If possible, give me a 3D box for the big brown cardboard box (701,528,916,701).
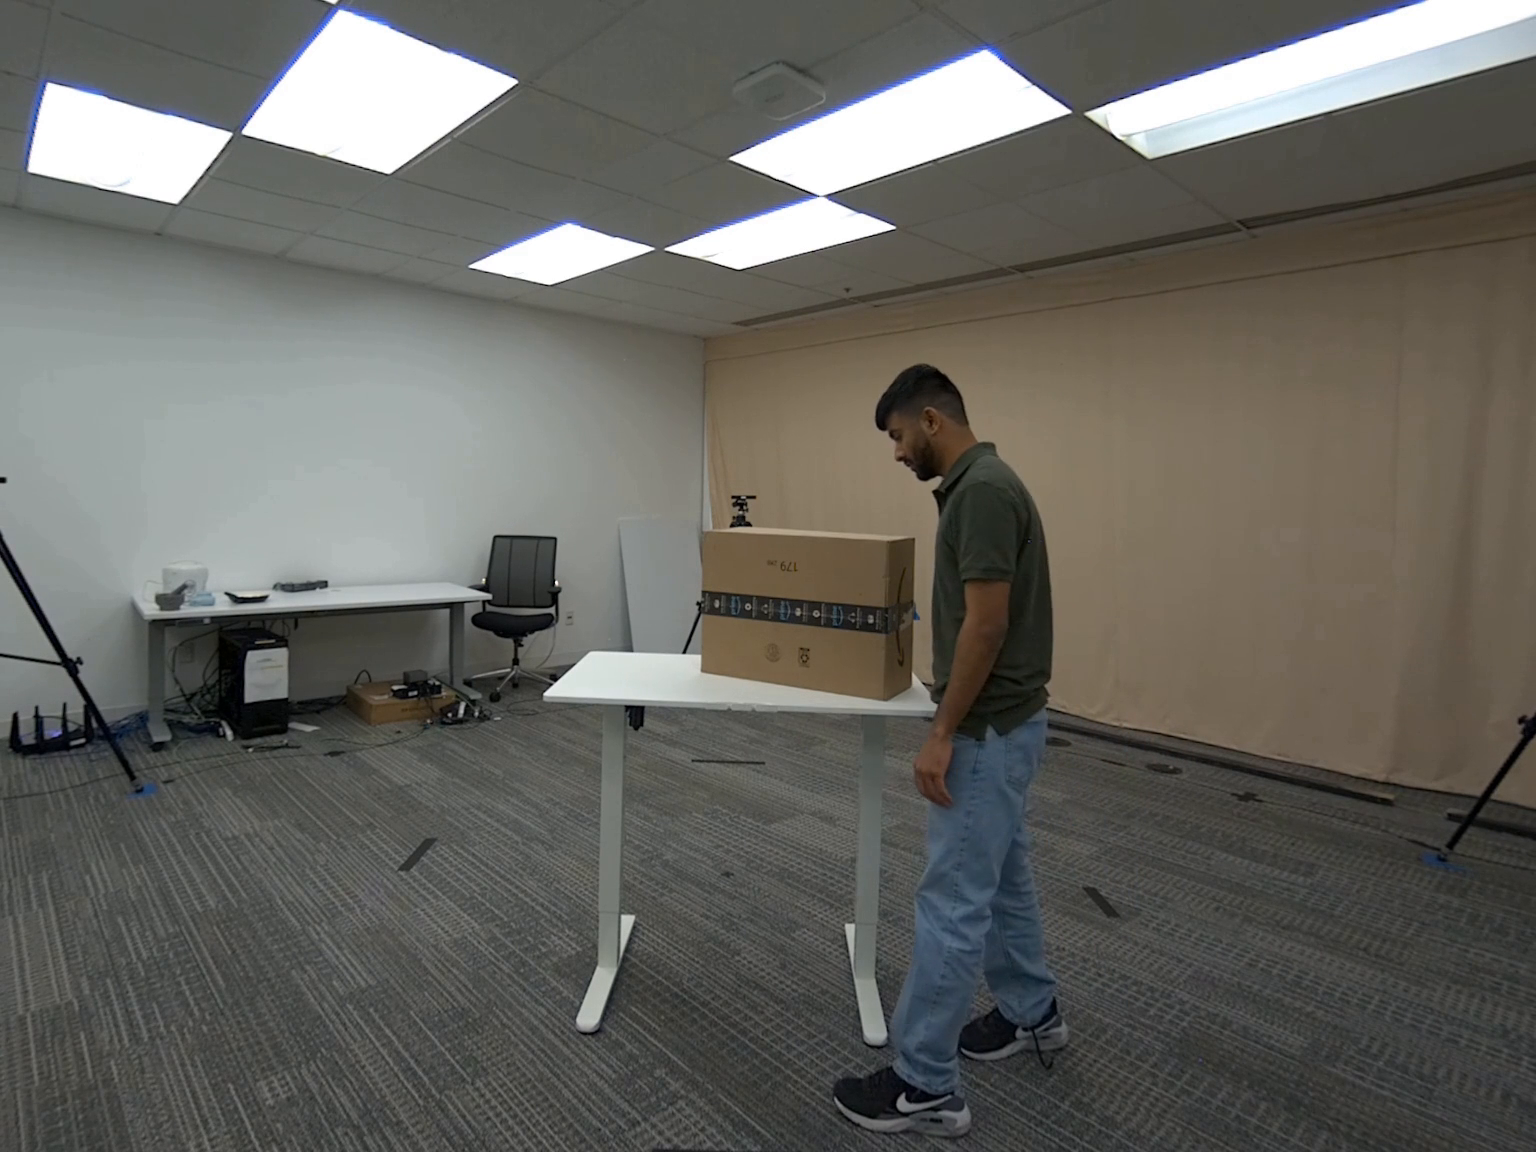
[{"bbox_3d":[0.097,0.089,2.373,0.602,0.416,0.229,5,6,30],"label":"big brown cardboard box"}]
